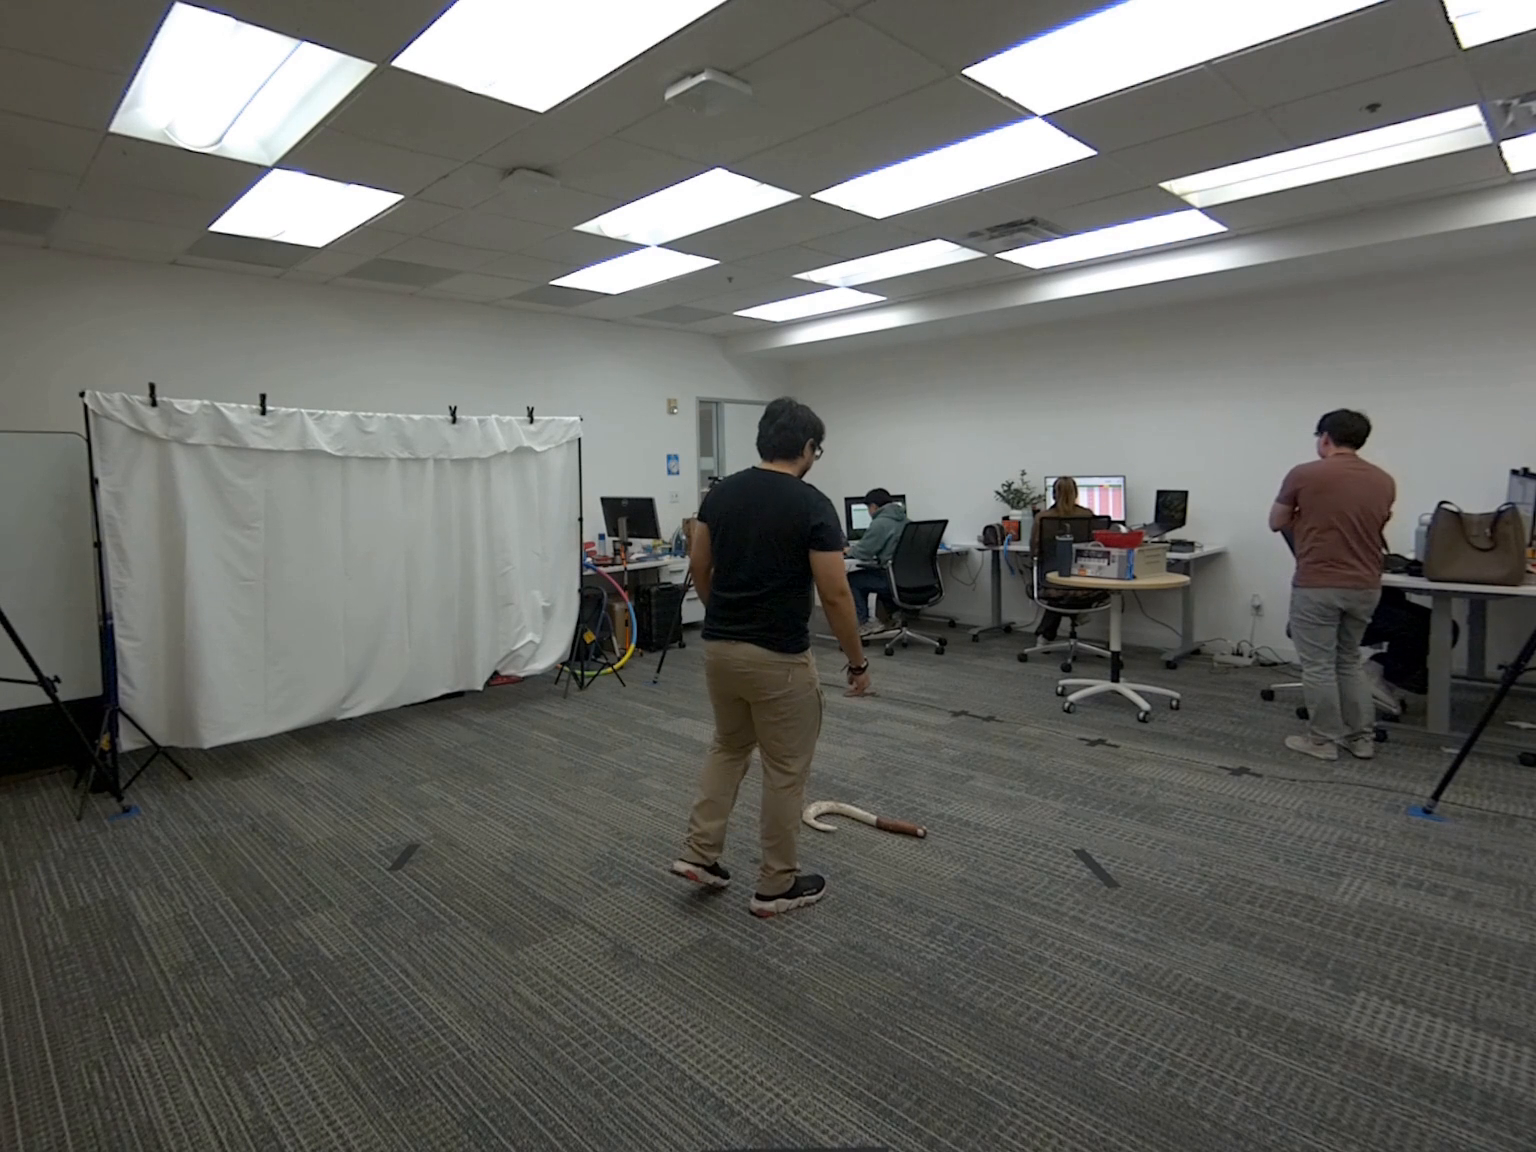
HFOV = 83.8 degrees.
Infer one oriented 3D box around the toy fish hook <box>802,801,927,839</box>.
[{"bbox_3d":[0.371,0.982,3.374,0.521,0.048,0.221,2,14,34],"label":"toy fish hook"}]
